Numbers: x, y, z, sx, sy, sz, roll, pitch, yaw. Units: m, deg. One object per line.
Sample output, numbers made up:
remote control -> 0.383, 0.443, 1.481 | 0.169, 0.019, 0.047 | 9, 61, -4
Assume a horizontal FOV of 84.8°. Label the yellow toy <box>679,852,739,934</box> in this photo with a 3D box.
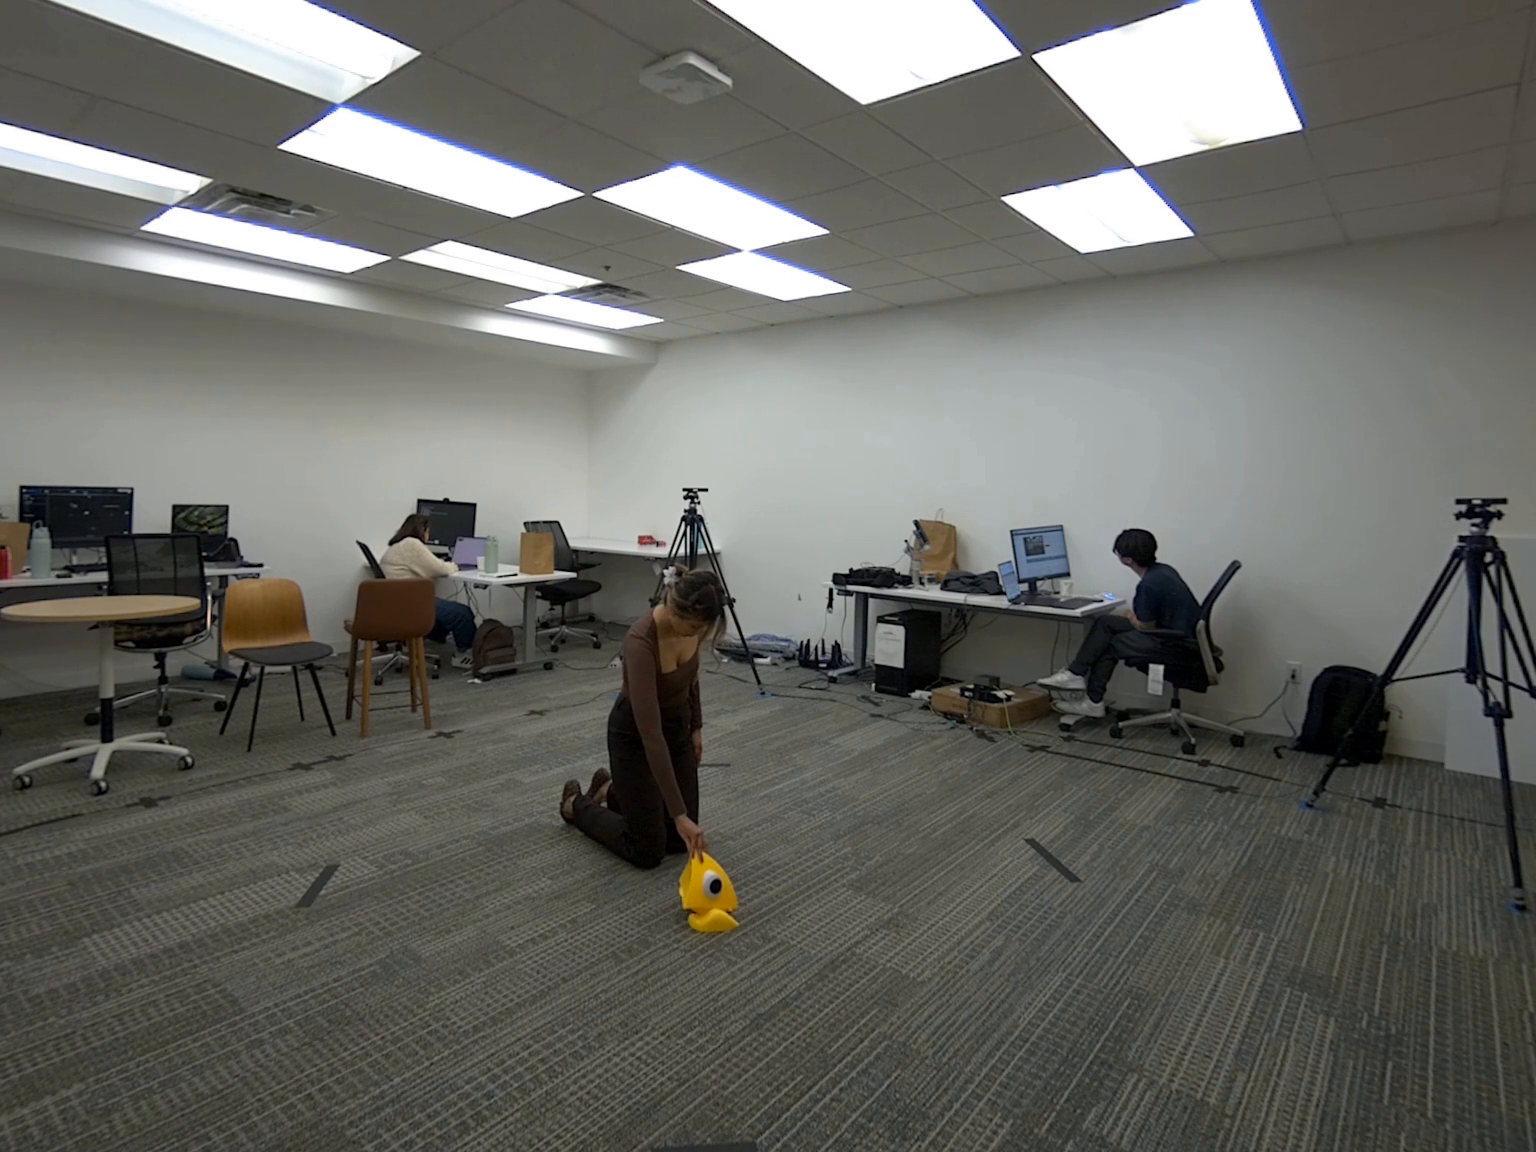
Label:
yellow toy -> -0.202, 0.987, 2.755 | 0.192, 0.230, 0.207 | -1, 4, -7
